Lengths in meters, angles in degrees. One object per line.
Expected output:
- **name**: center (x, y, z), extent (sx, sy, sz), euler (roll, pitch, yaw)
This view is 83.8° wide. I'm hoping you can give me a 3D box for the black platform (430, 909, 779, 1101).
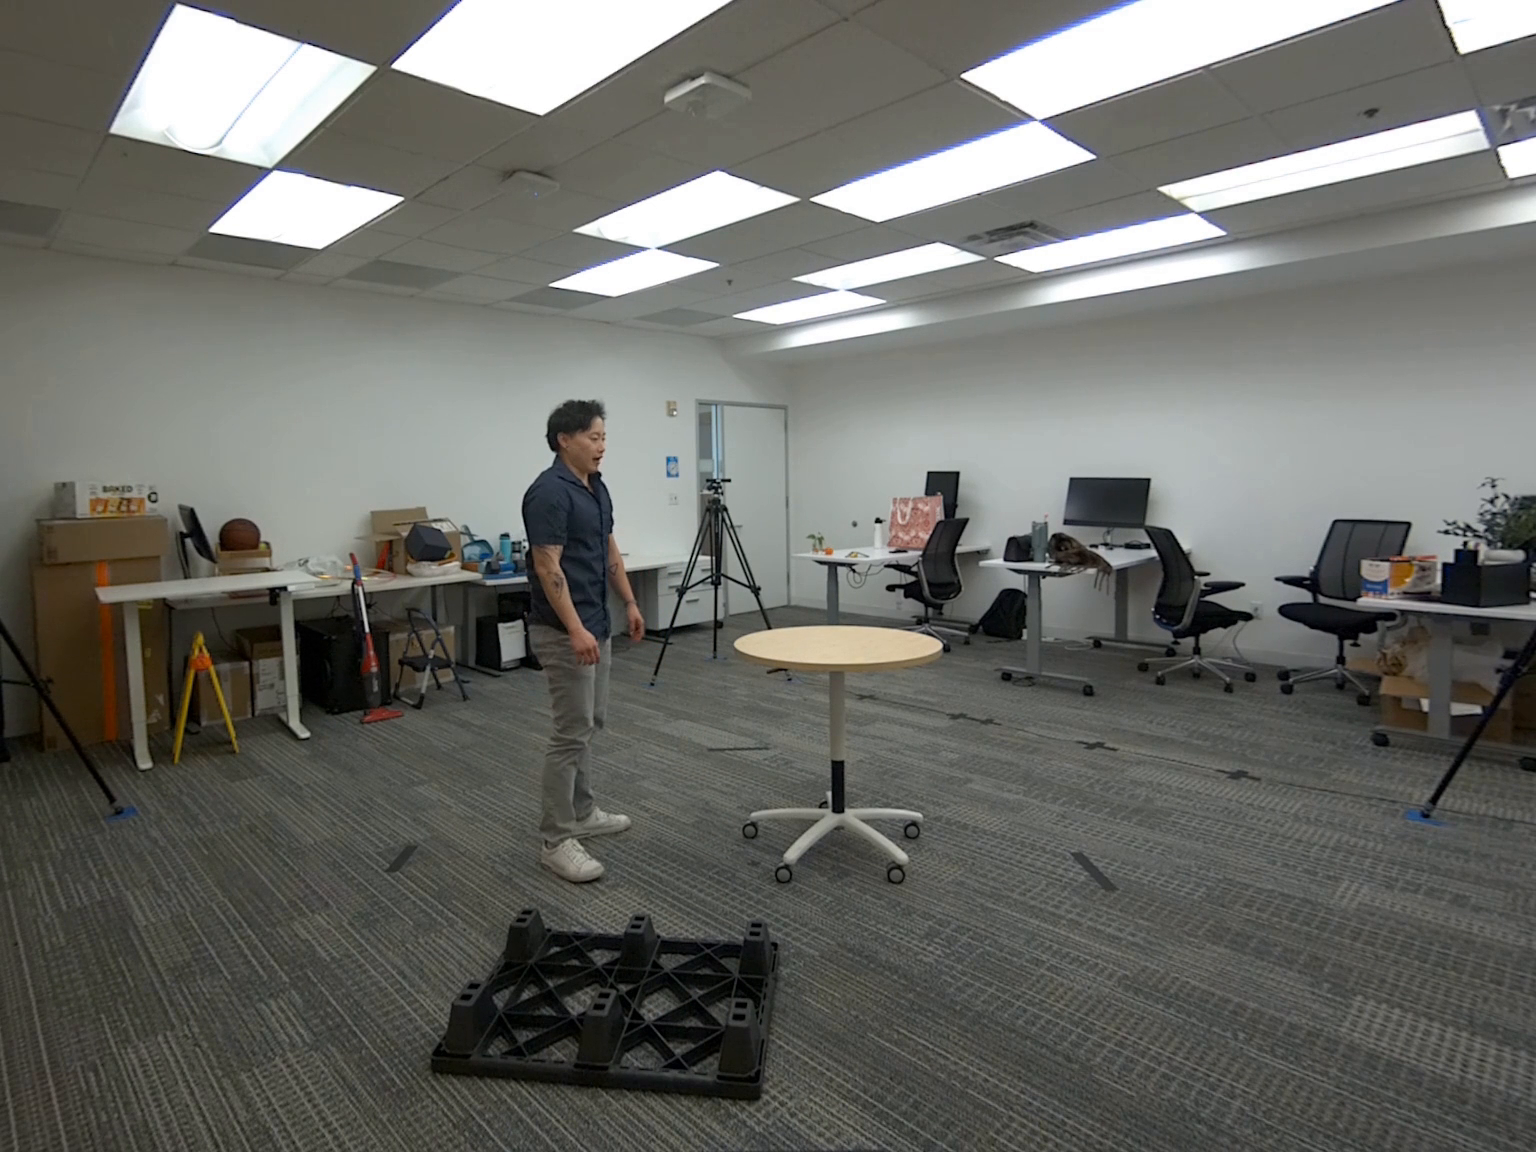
- **black platform**: center (-0.386, 1.083, 2.263), extent (0.811, 0.142, 0.604), euler (-1, 6, 7)
